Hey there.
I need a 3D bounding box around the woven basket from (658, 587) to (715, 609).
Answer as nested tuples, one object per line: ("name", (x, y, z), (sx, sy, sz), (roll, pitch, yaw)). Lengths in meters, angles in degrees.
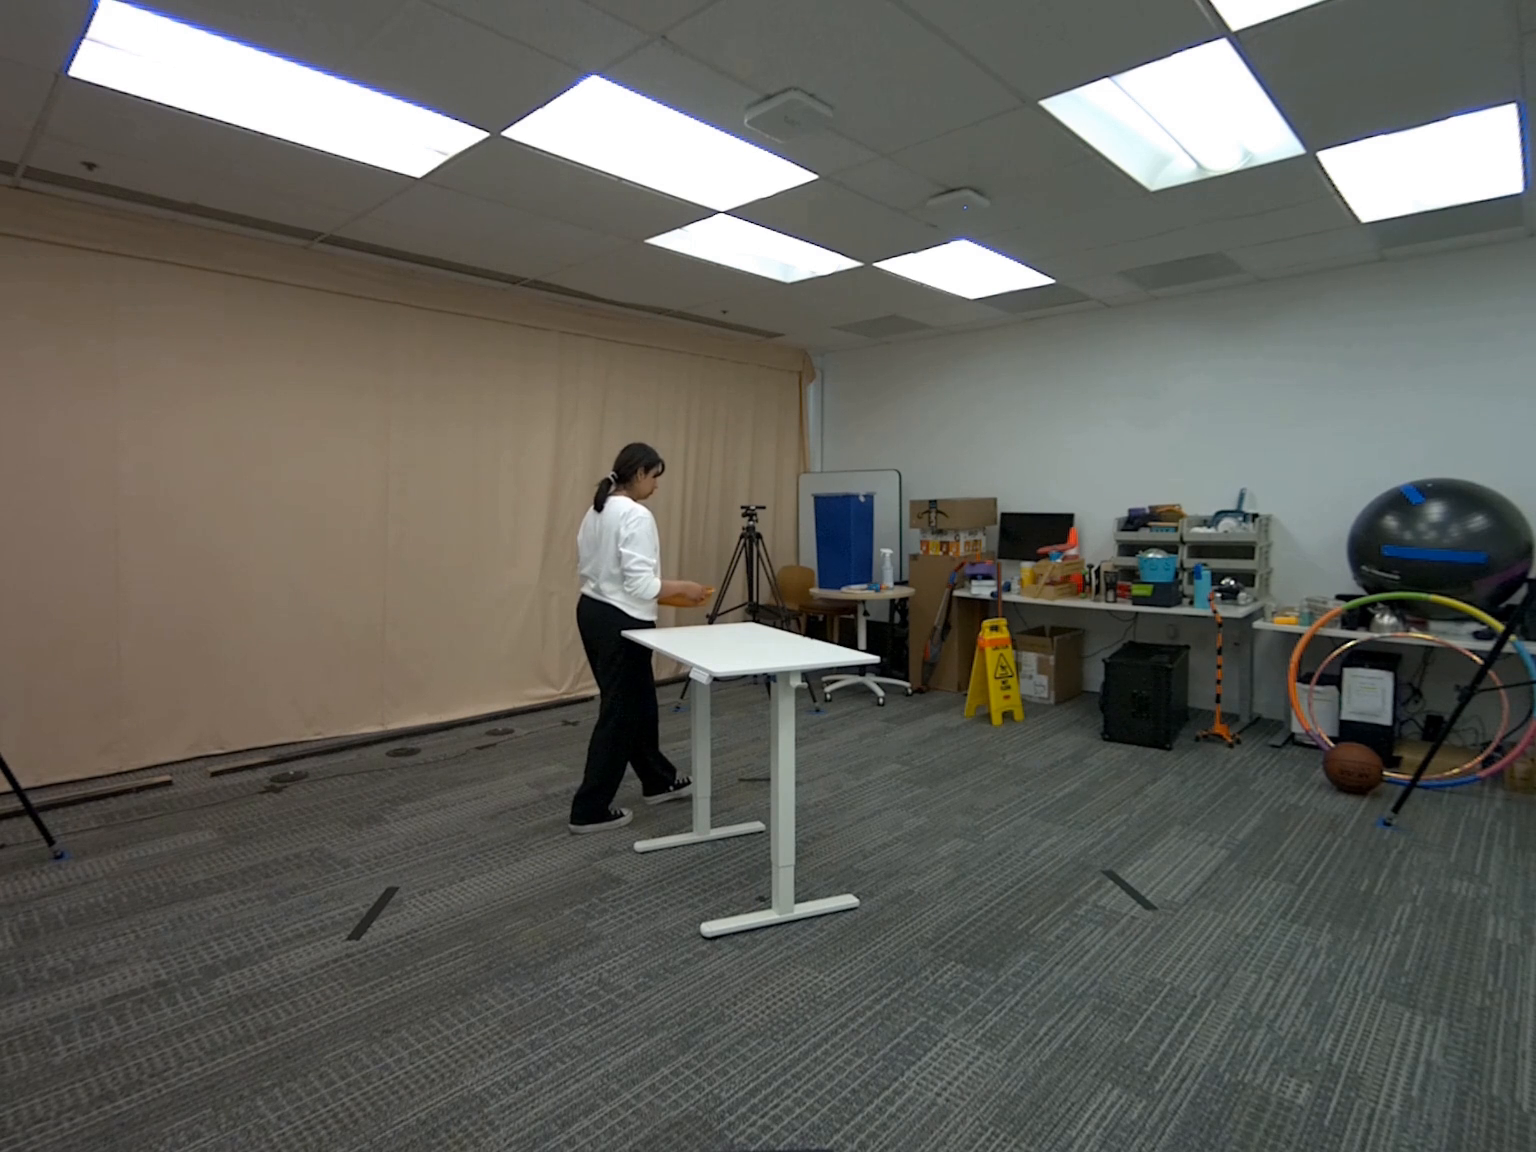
("woven basket", (-0.423, 0.099, 3.886), (0.361, 0.073, 0.246), (4, 9, 35))
